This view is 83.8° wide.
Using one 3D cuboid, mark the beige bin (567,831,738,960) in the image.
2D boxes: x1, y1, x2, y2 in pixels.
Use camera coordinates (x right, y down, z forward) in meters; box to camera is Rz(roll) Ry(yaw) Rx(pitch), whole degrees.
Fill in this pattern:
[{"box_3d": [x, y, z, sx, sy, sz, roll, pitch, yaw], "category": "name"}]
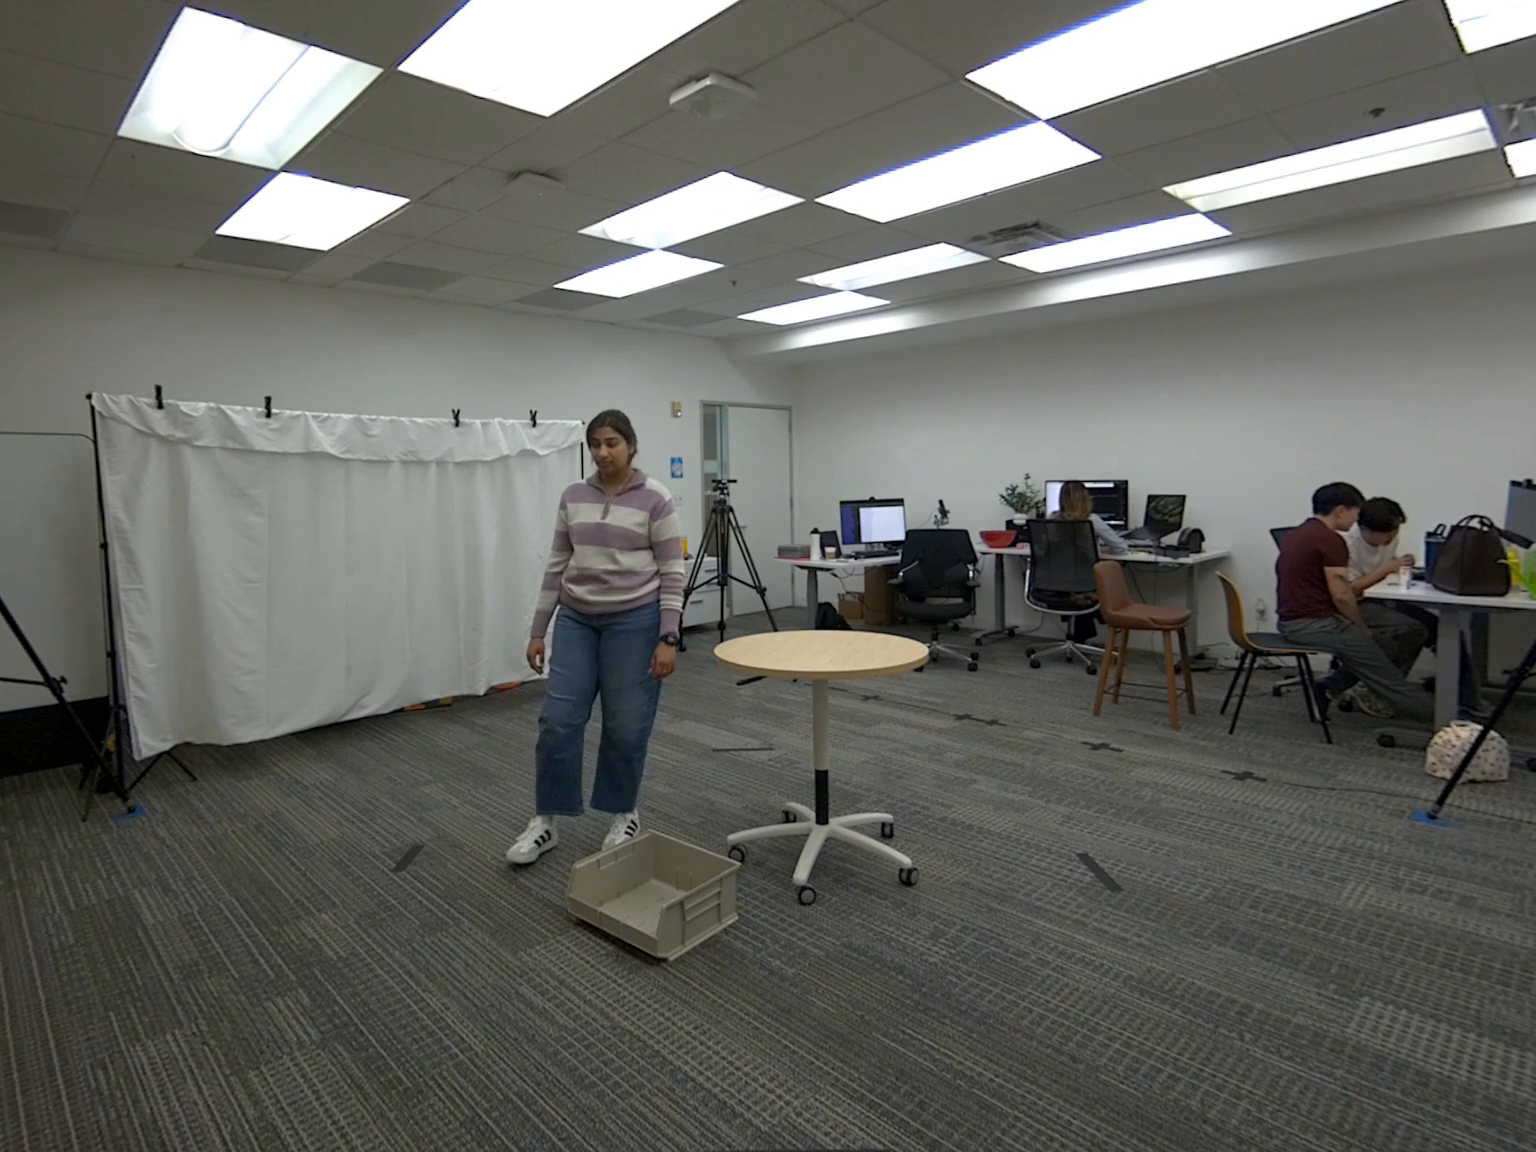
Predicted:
[{"box_3d": [-0.361, 1.009, 2.717, 0.435, 0.188, 0.367, 4, 7, 40], "category": "beige bin"}]
